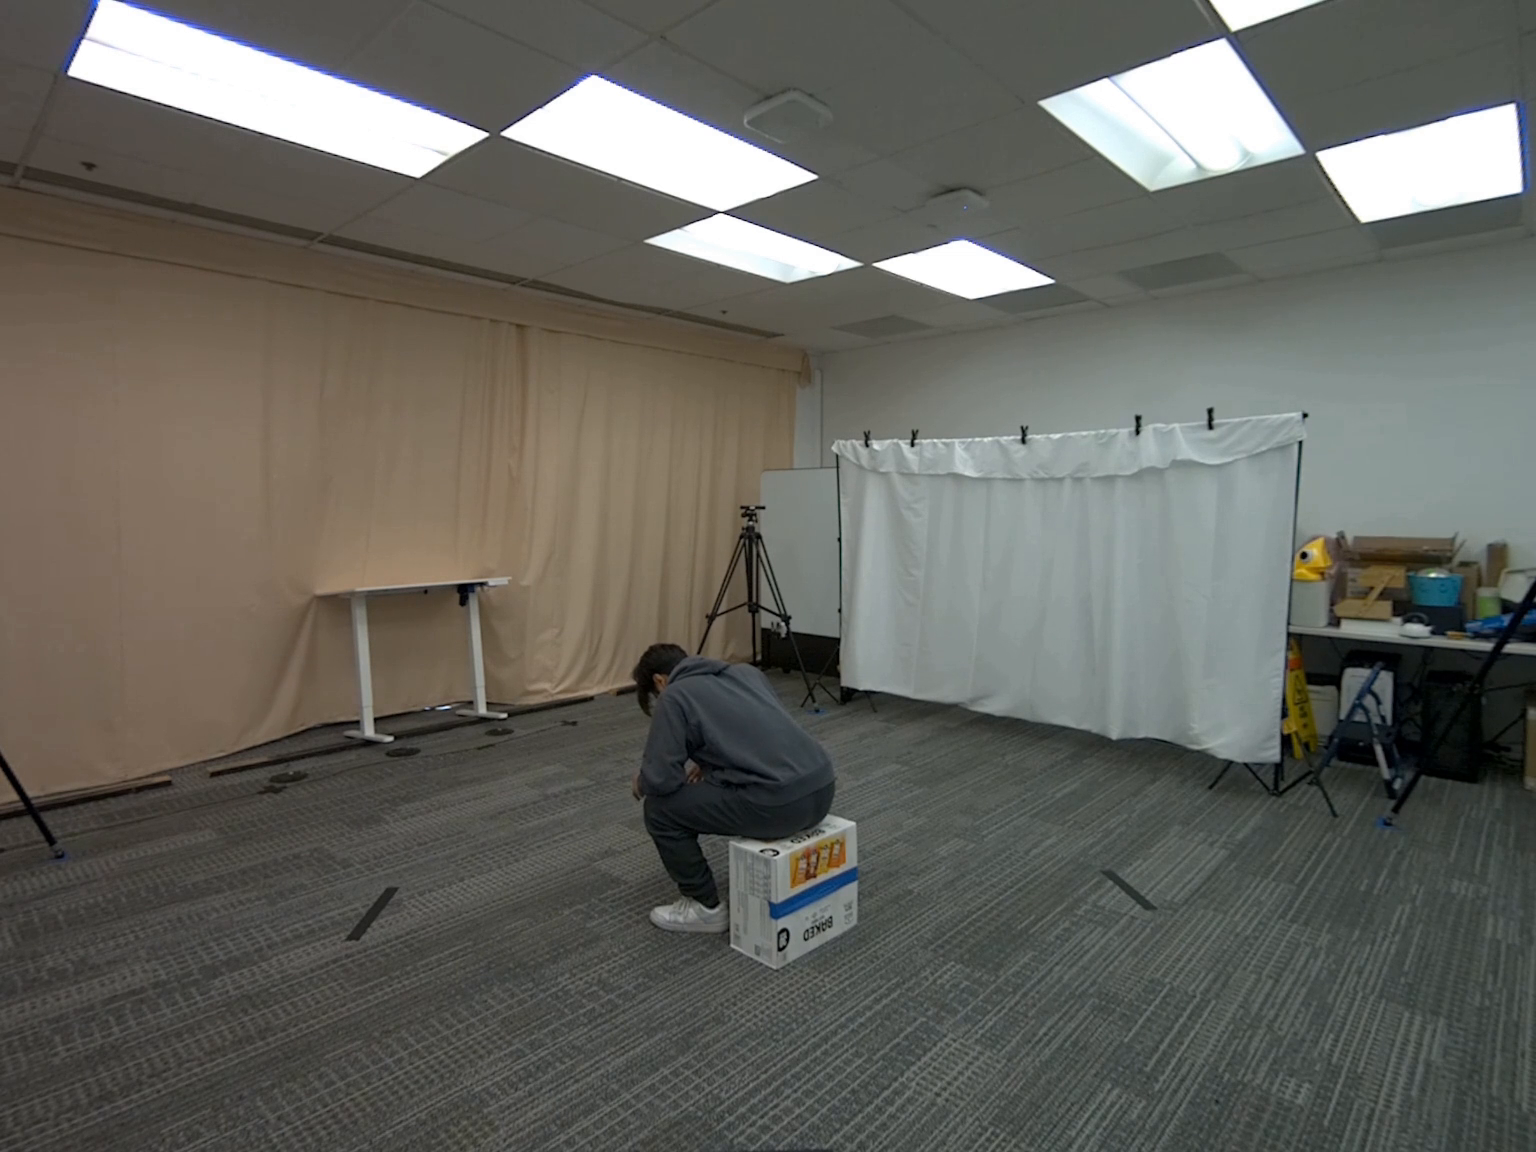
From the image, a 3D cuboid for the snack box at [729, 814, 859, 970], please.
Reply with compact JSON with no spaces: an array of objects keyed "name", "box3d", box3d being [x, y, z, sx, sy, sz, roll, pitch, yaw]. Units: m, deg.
[{"name":"snack box","box3d":[0.091,0.995,2.725,0.212,0.340,0.393,1,4,44]}]
